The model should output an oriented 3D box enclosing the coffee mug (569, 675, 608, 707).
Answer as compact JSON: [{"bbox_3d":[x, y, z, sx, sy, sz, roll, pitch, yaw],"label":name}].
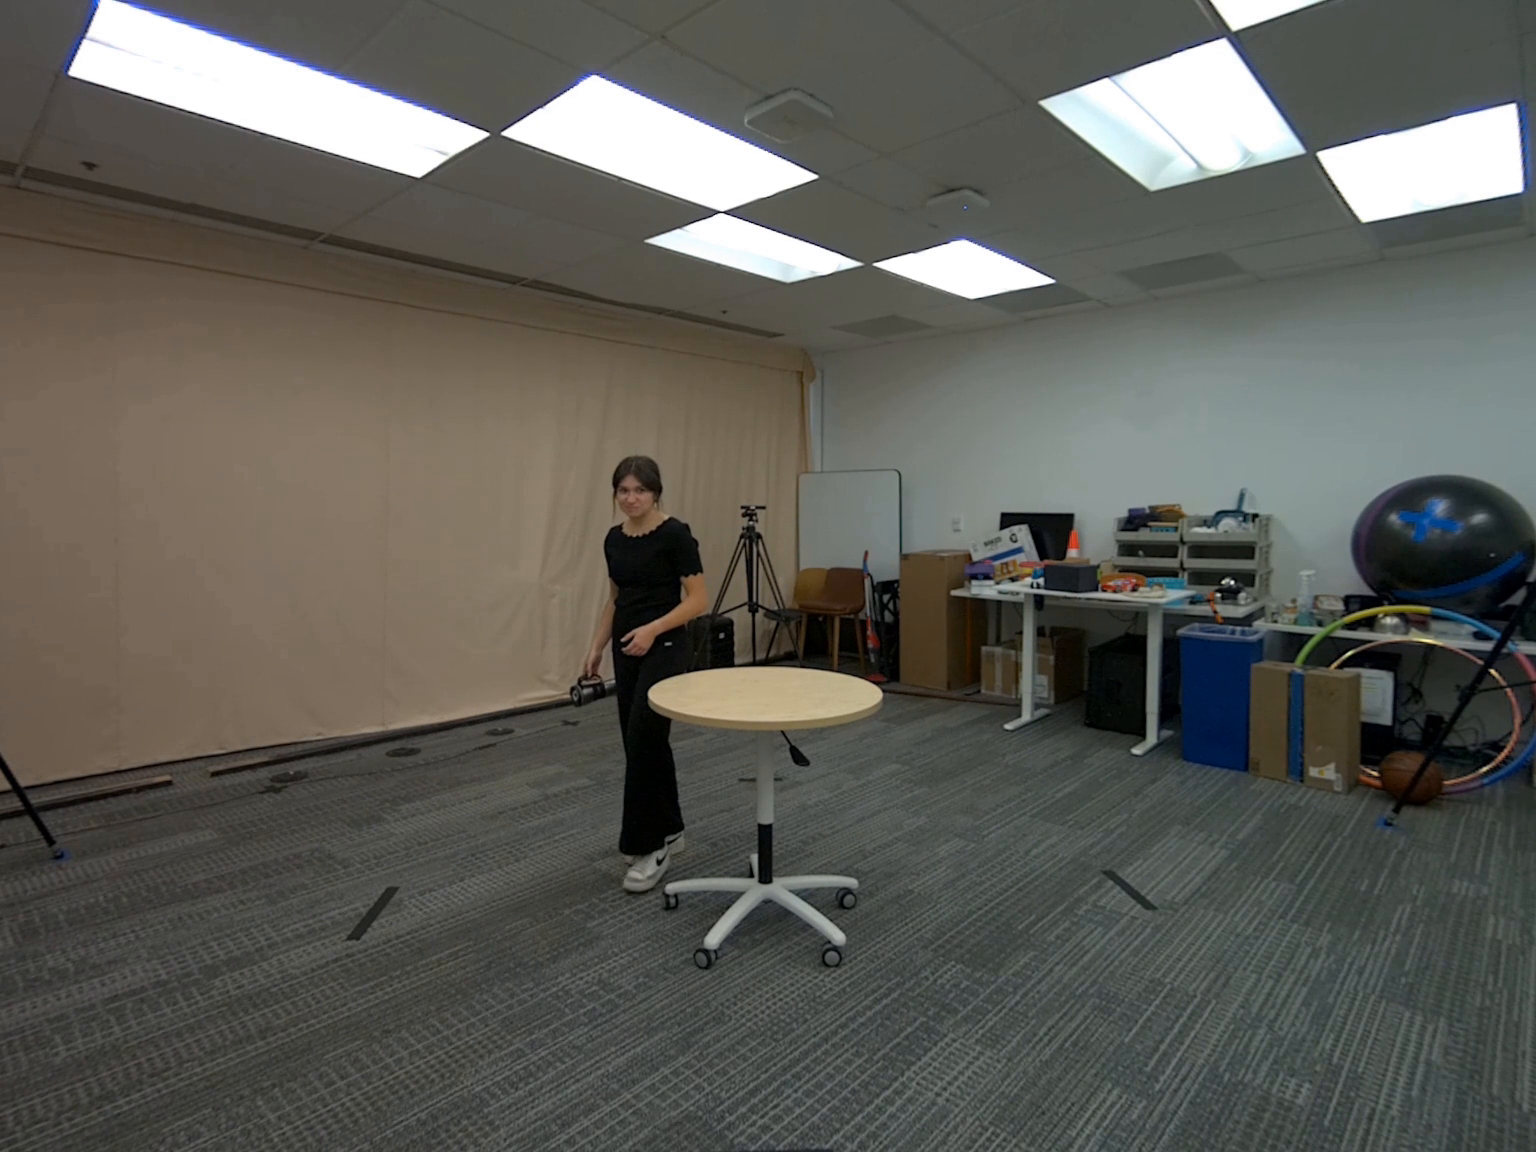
[{"bbox_3d":[-0.686,0.452,3.377,0.197,0.121,0.090,-8,48,-35],"label":"coffee mug"}]
